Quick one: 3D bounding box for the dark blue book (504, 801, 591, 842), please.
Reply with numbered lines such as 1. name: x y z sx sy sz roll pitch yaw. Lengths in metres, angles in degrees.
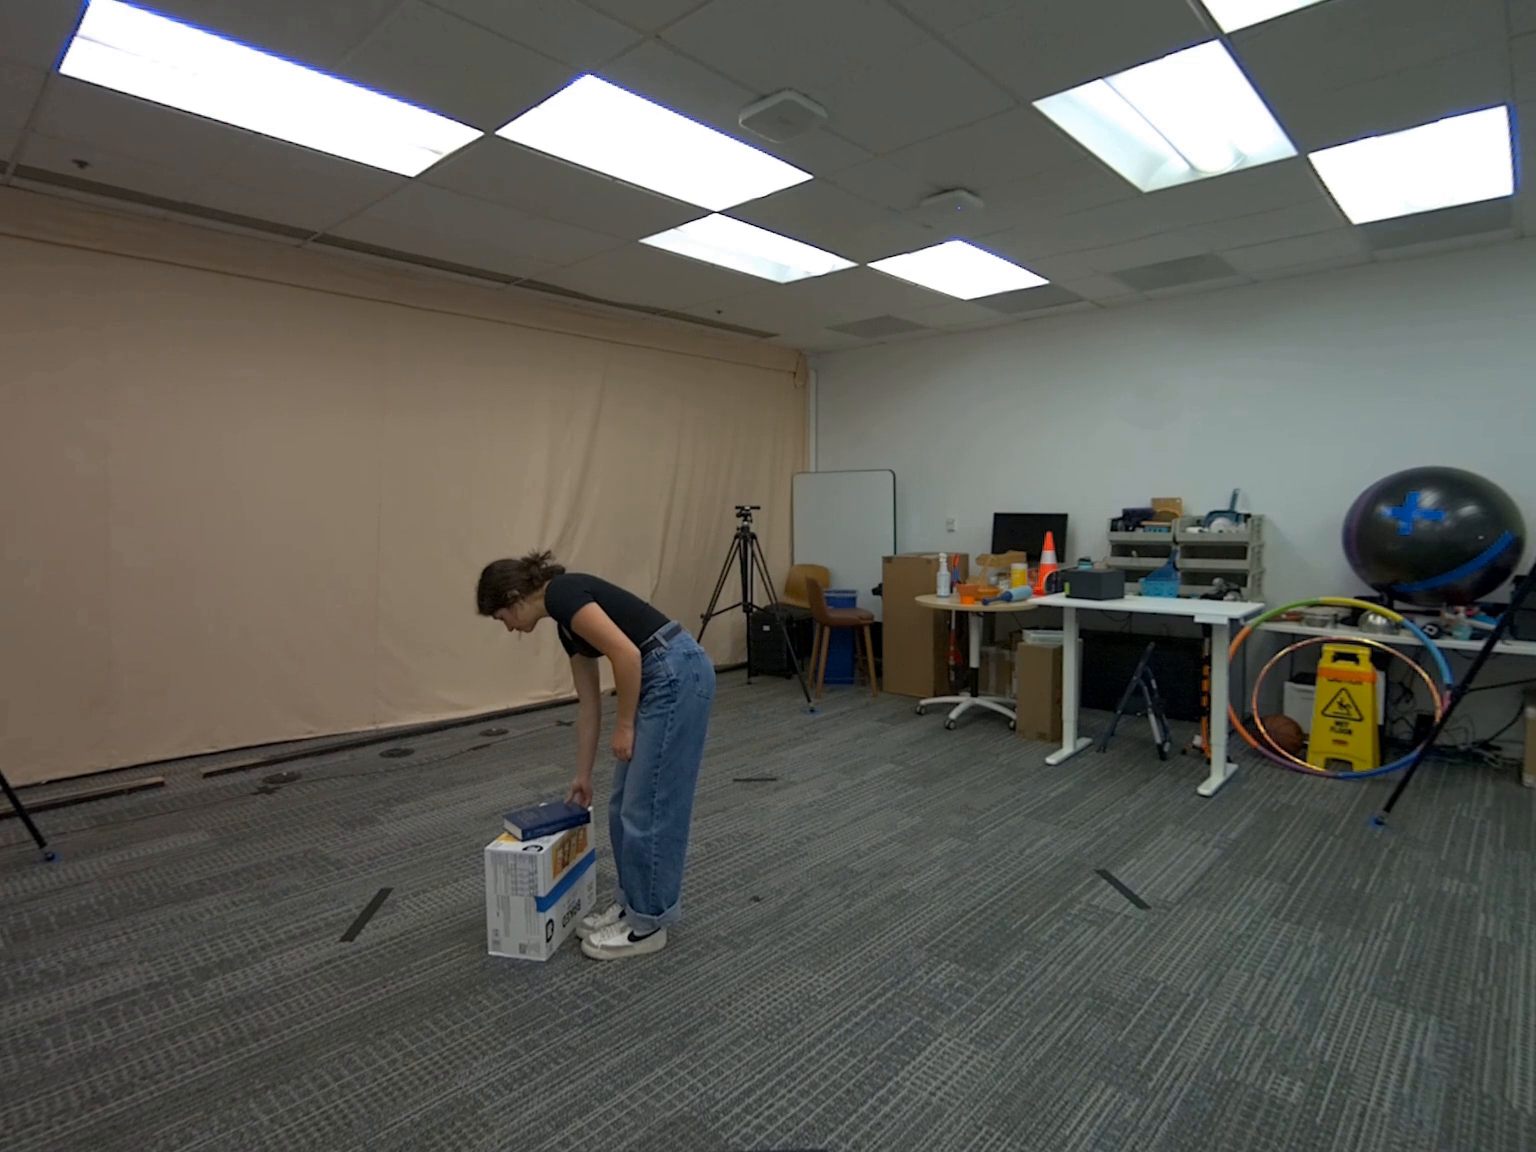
1. dark blue book: -0.738 0.811 2.785 0.238 0.045 0.168 -5 5 -37
